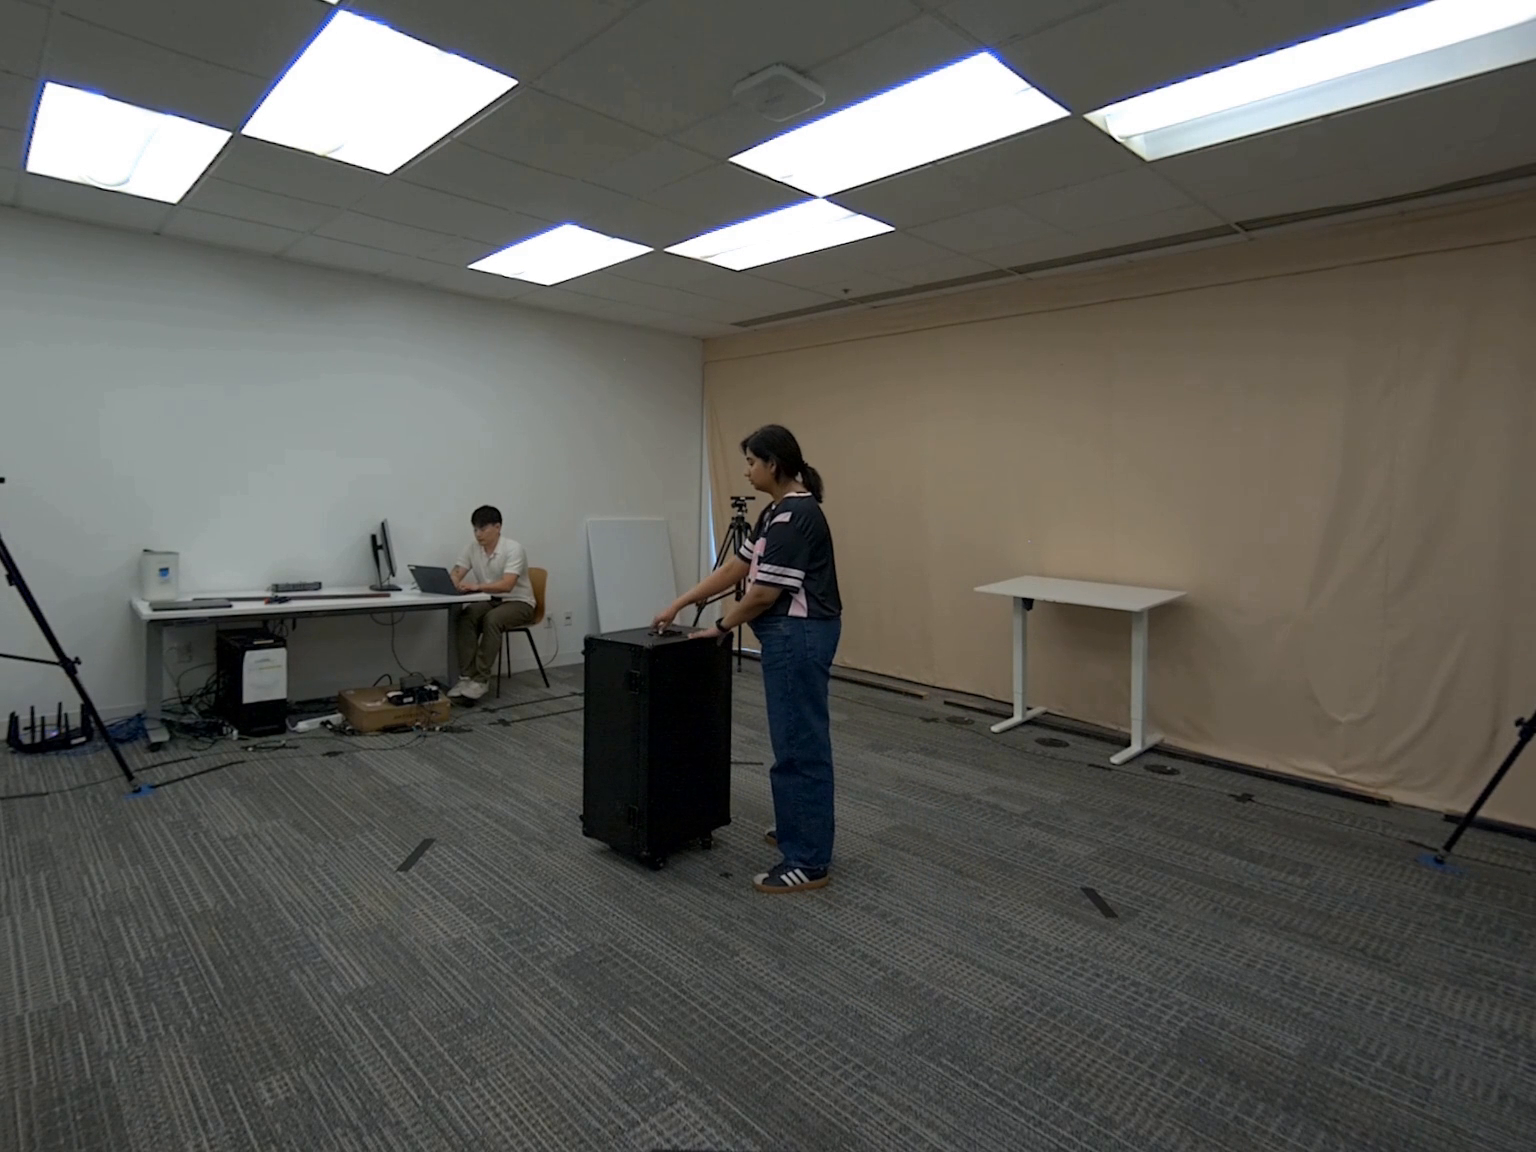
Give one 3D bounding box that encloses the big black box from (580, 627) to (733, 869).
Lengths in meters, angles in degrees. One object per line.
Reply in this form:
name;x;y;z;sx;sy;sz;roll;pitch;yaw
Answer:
big black box;-0.442;0.654;3.322;0.394;0.867;0.512;3;3;37
